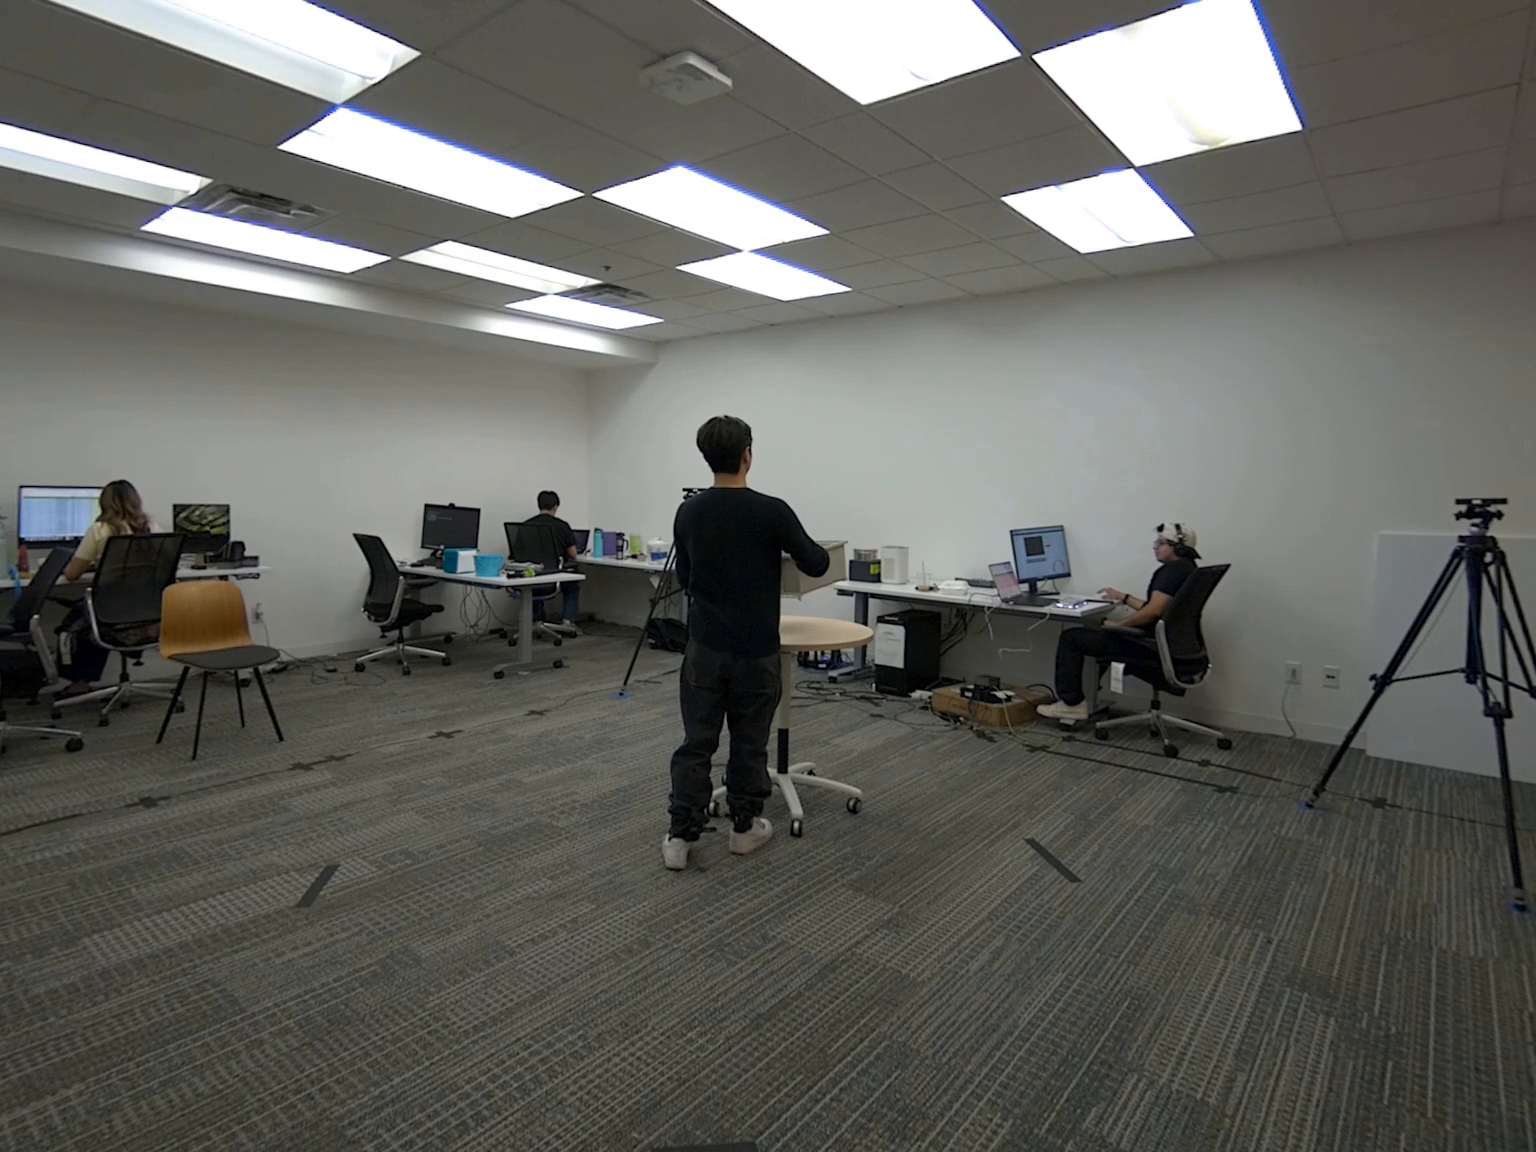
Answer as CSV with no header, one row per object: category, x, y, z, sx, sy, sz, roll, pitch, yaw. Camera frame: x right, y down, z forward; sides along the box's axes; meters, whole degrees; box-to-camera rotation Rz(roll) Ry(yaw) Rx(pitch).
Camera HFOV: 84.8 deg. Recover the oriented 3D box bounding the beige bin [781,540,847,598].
beige bin,0.077,-0.036,3.743,0.389,0.187,0.412,1,10,36
